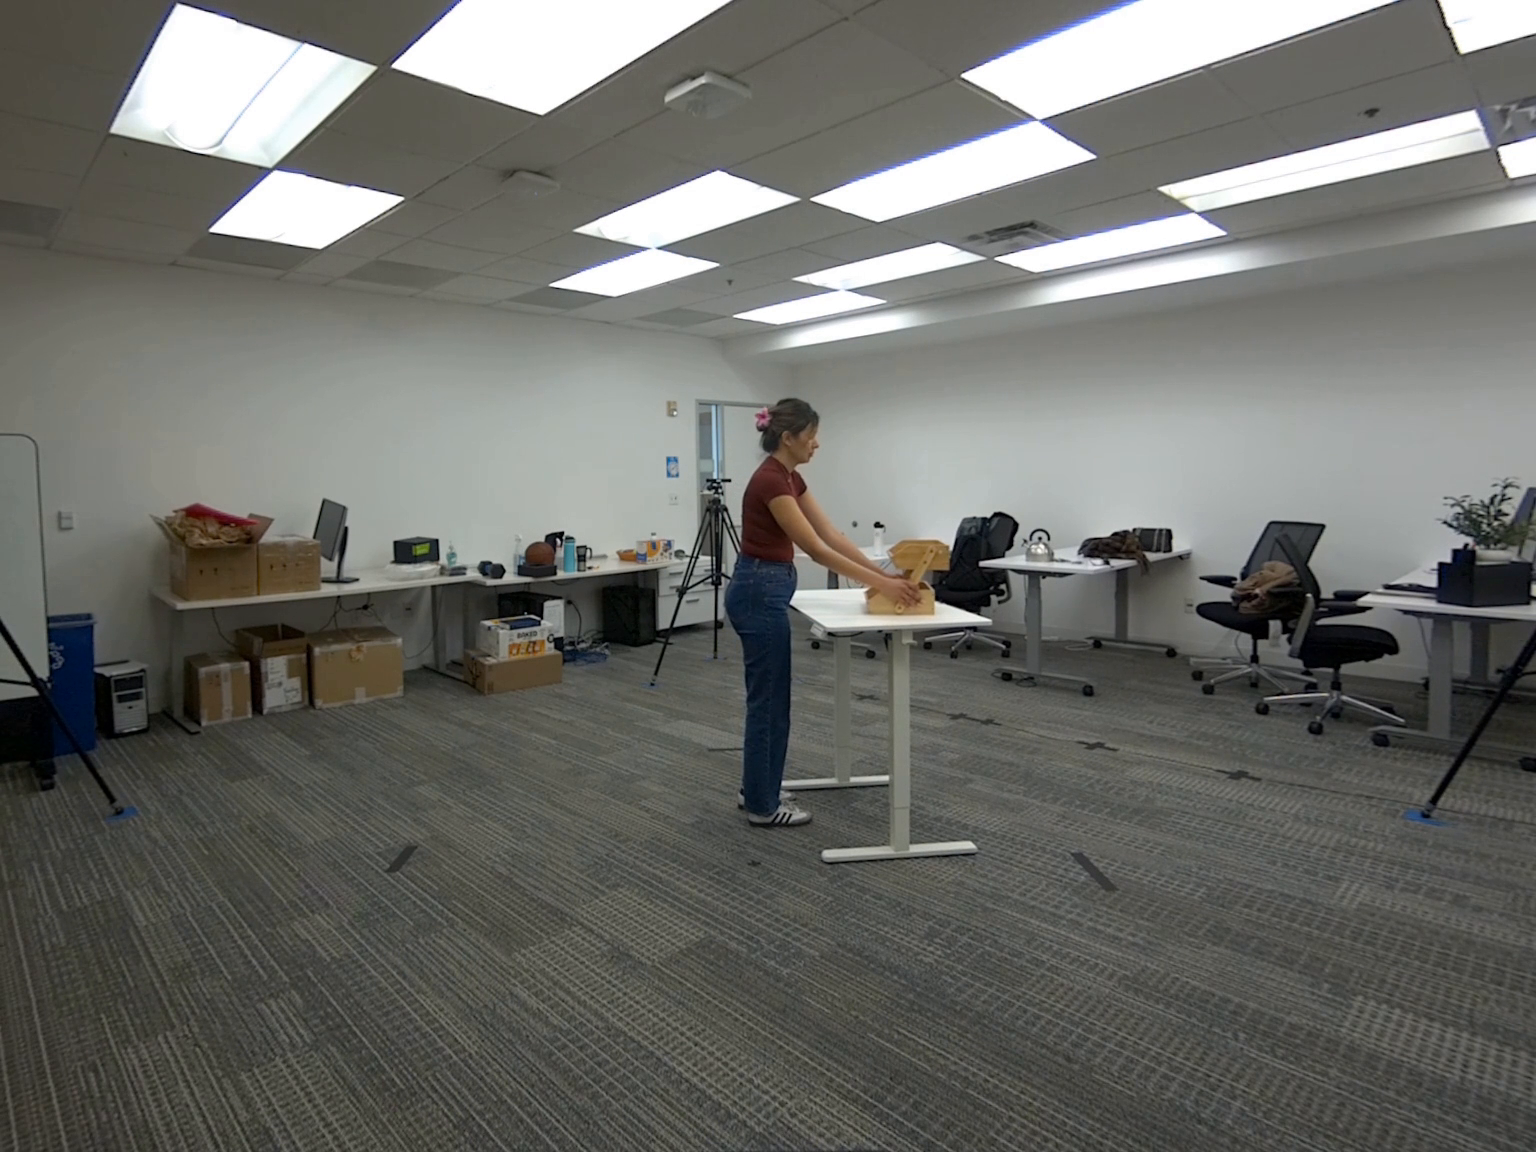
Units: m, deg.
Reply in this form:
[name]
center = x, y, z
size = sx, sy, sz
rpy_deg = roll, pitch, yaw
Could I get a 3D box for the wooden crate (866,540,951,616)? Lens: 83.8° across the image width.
[wooden crate]
center = 0.521, -0.001, 3.316
size = 0.304, 0.272, 0.324
rpy_deg = 1, 5, 5
